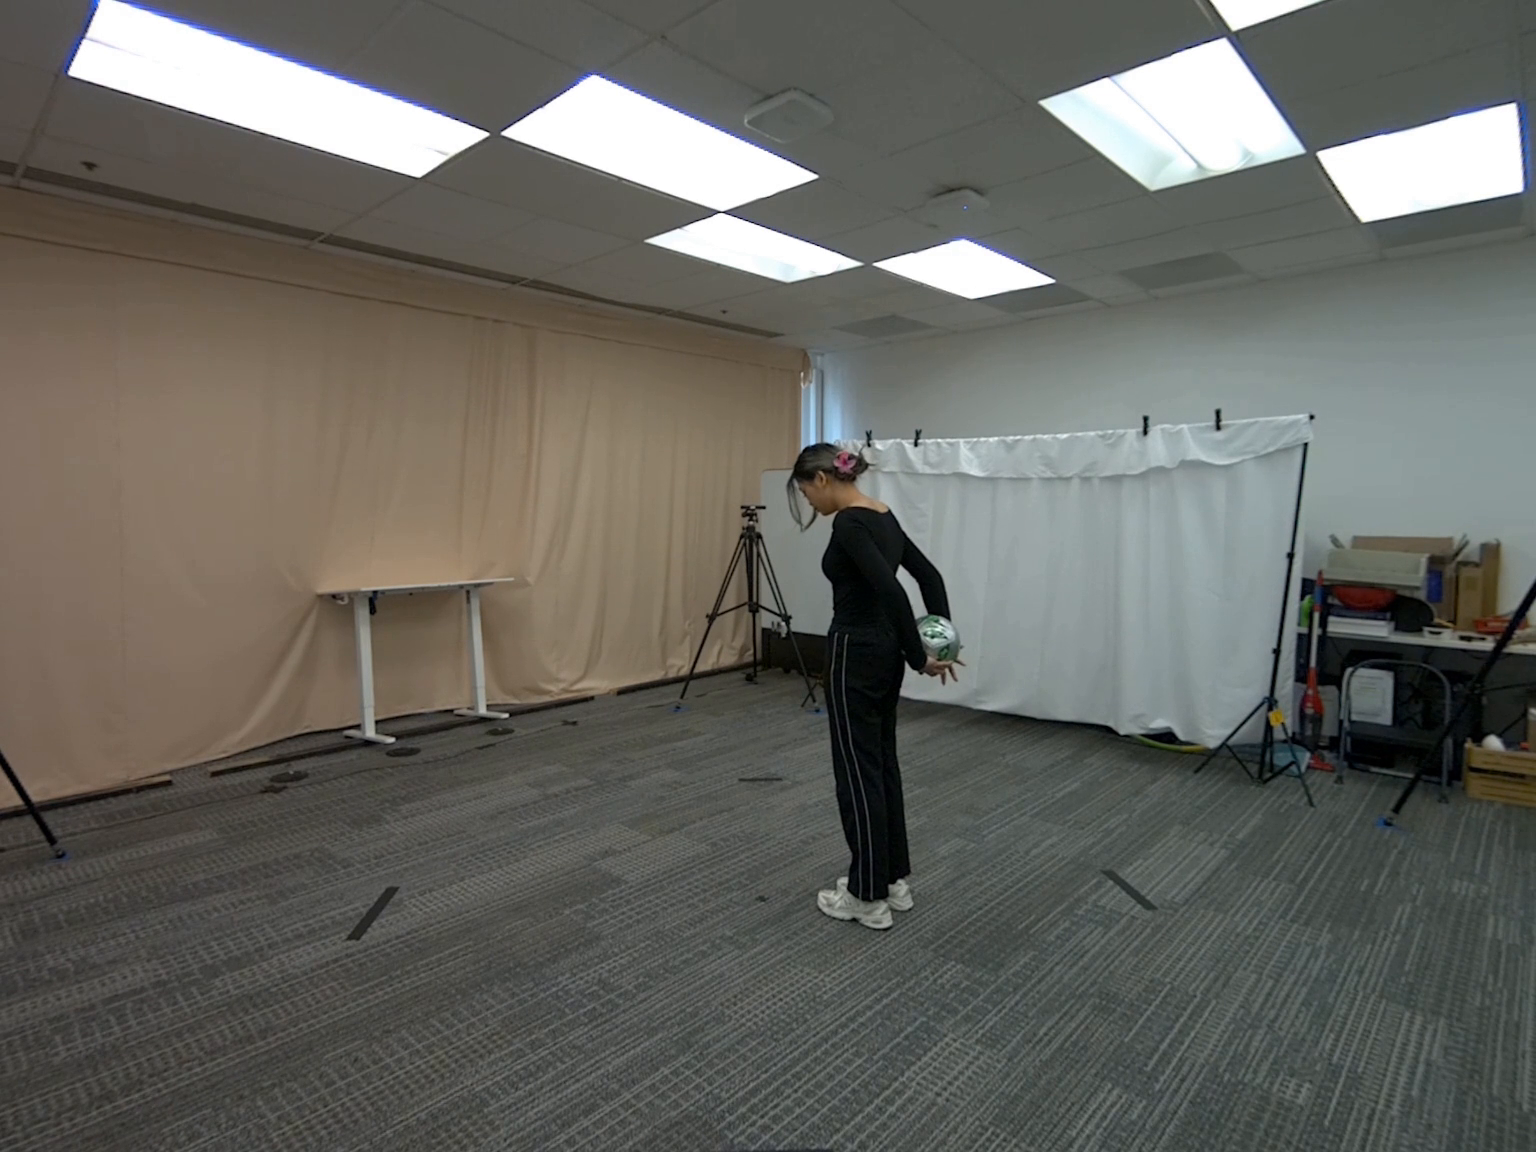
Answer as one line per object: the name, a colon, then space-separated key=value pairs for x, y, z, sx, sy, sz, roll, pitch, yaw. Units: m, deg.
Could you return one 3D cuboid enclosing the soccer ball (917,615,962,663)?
soccer ball: x=0.537 y=0.223 z=2.754 sx=0.187 sy=0.187 sz=0.188 roll=0 pitch=4 yaw=-2
